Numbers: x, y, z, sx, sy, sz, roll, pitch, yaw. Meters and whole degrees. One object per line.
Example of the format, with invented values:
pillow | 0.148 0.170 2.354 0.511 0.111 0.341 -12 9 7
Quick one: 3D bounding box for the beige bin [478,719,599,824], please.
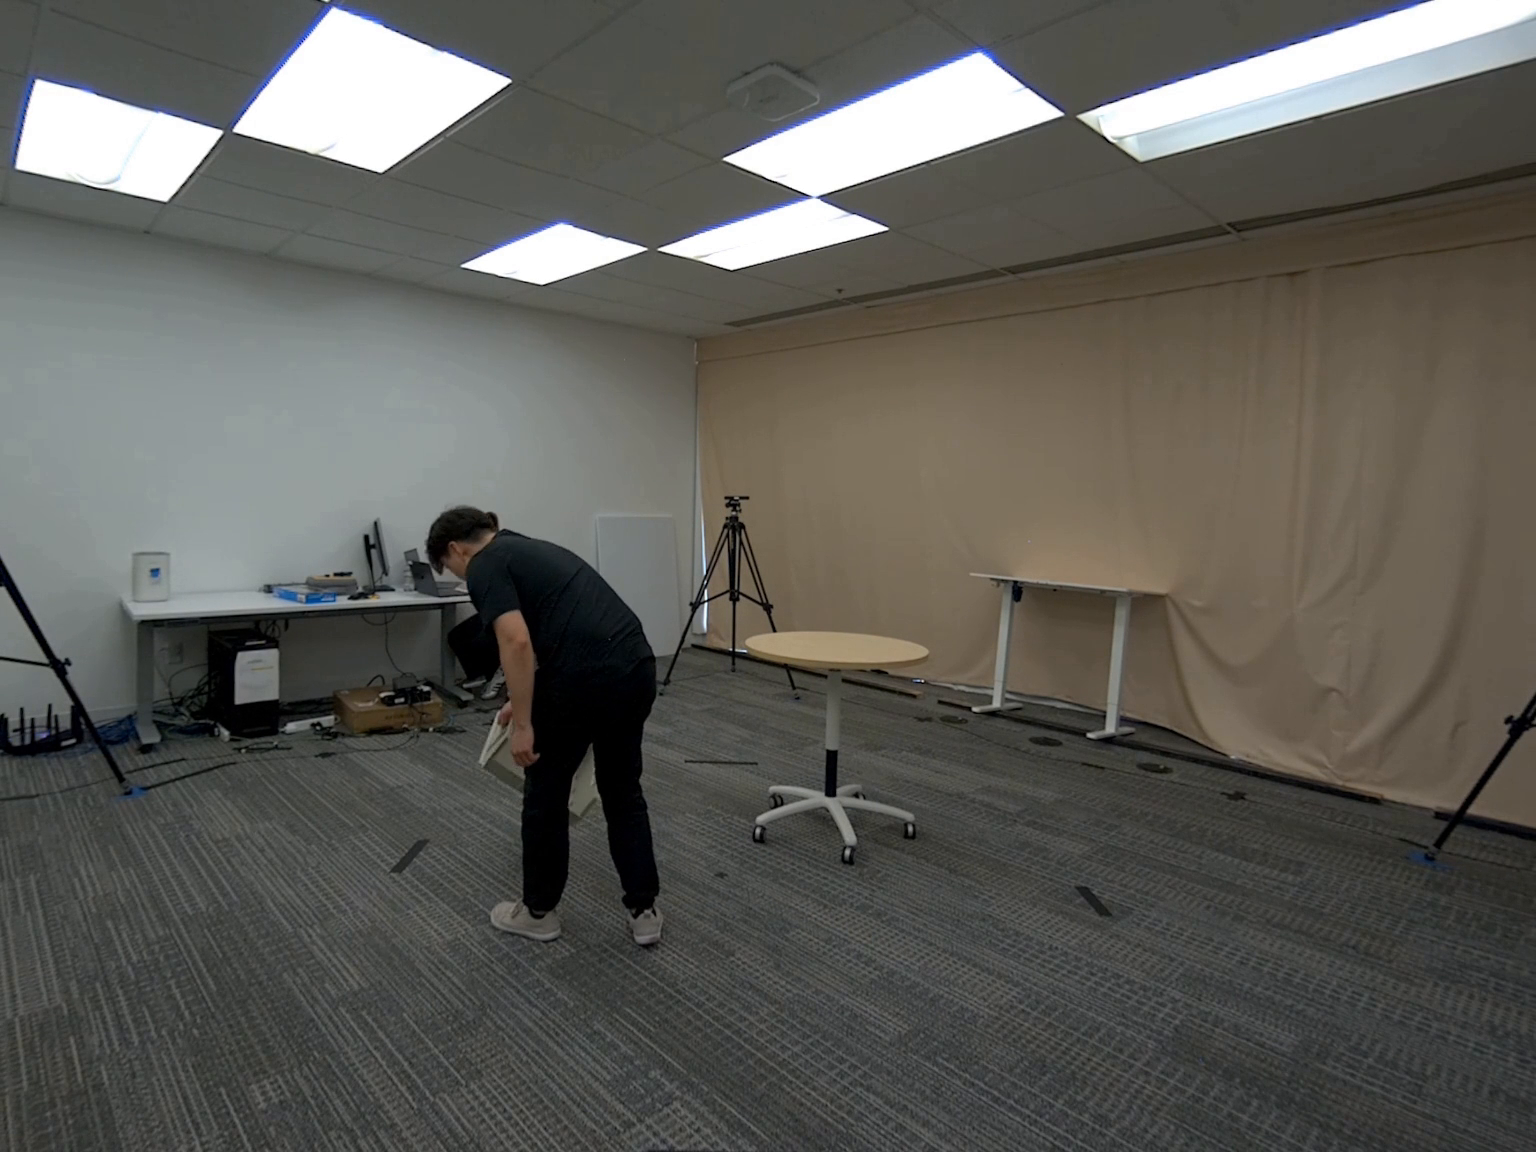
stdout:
beige bin | -0.840 0.683 3.155 0.414 0.189 0.385 39 15 -19
